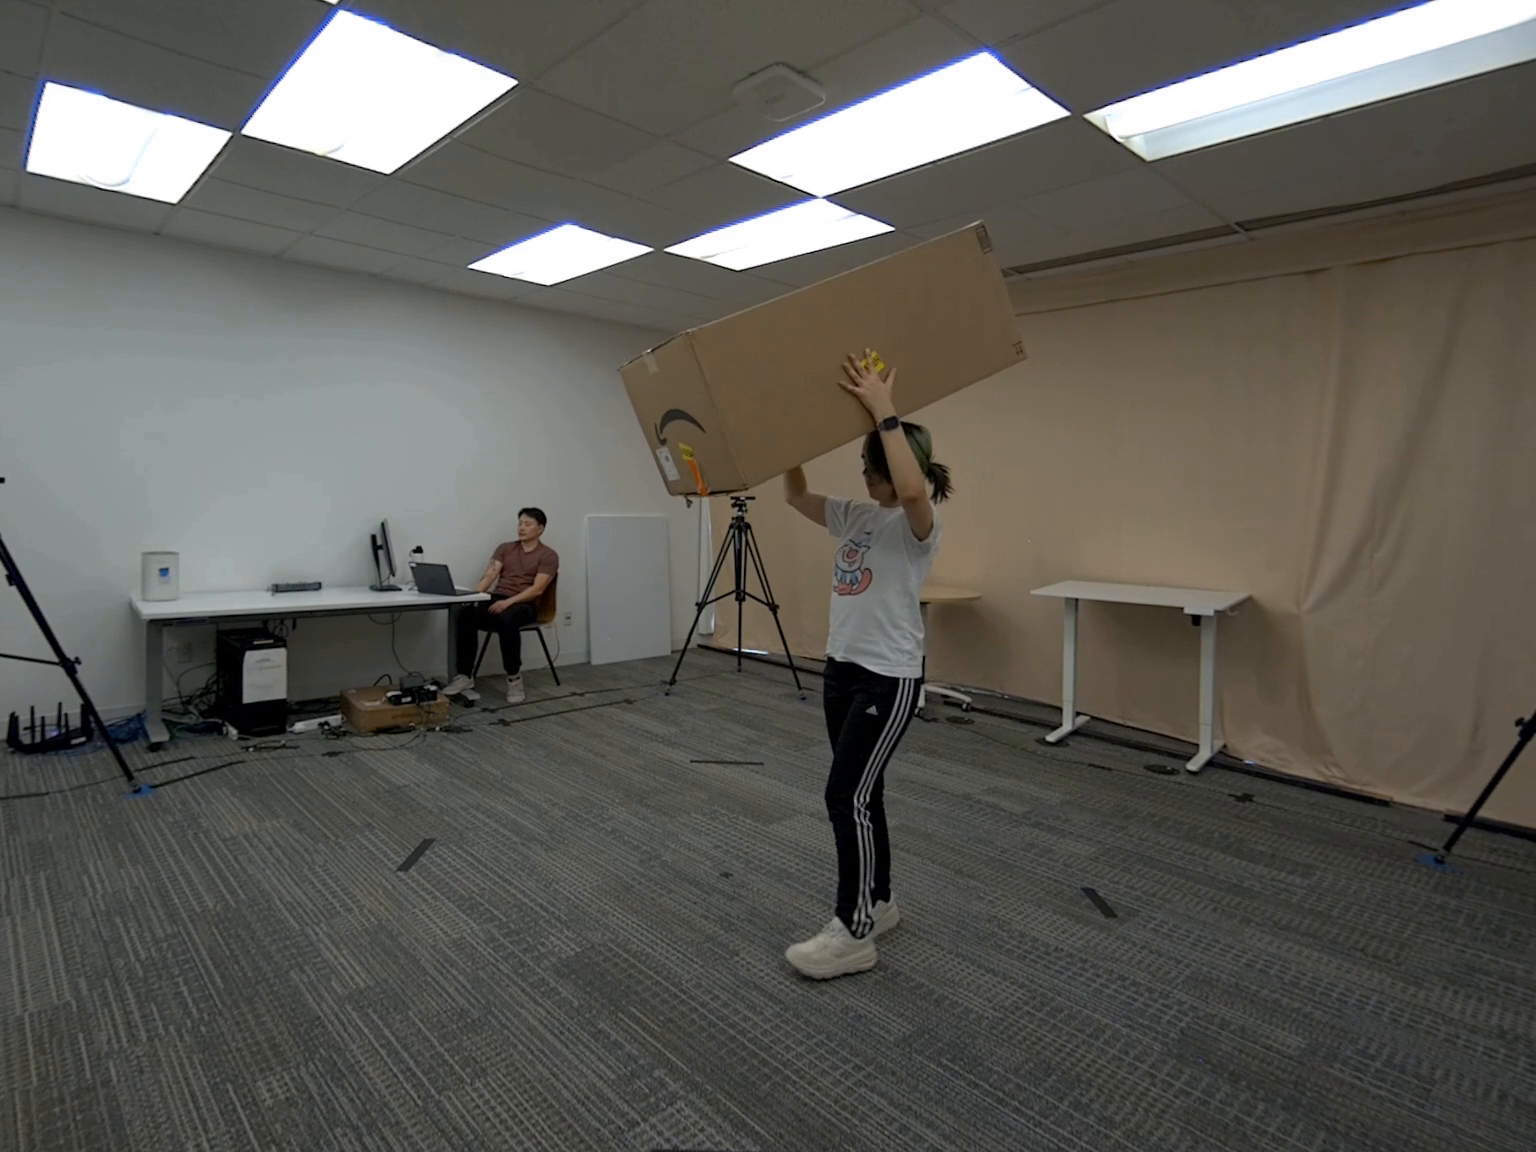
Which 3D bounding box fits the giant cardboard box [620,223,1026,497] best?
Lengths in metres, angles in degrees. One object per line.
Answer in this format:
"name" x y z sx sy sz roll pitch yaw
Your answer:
"giant cardboard box" 0.150 -0.635 2.540 1.019 0.441 0.596 -28 16 -22
